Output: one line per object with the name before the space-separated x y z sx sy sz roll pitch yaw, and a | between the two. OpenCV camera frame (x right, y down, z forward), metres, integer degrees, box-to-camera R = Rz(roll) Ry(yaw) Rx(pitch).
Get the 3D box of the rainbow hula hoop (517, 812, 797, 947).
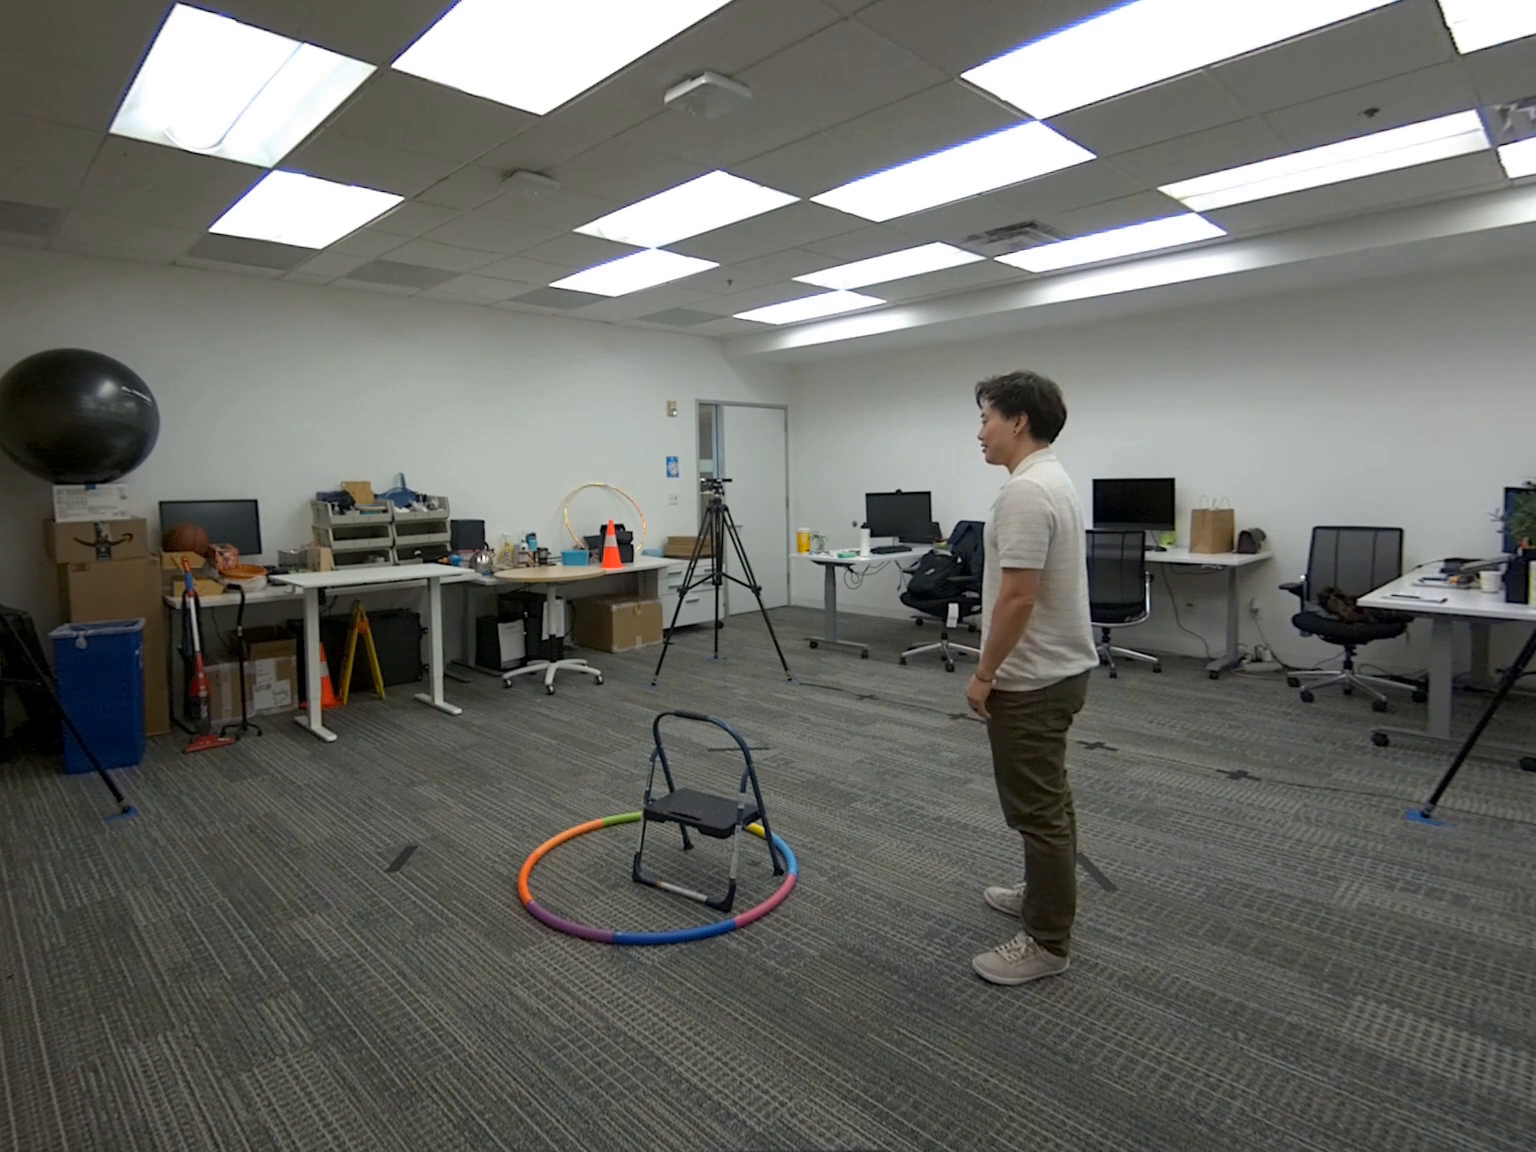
rainbow hula hoop | -0.390 1.025 3.057 0.978 0.035 0.984 -1 7 -2
